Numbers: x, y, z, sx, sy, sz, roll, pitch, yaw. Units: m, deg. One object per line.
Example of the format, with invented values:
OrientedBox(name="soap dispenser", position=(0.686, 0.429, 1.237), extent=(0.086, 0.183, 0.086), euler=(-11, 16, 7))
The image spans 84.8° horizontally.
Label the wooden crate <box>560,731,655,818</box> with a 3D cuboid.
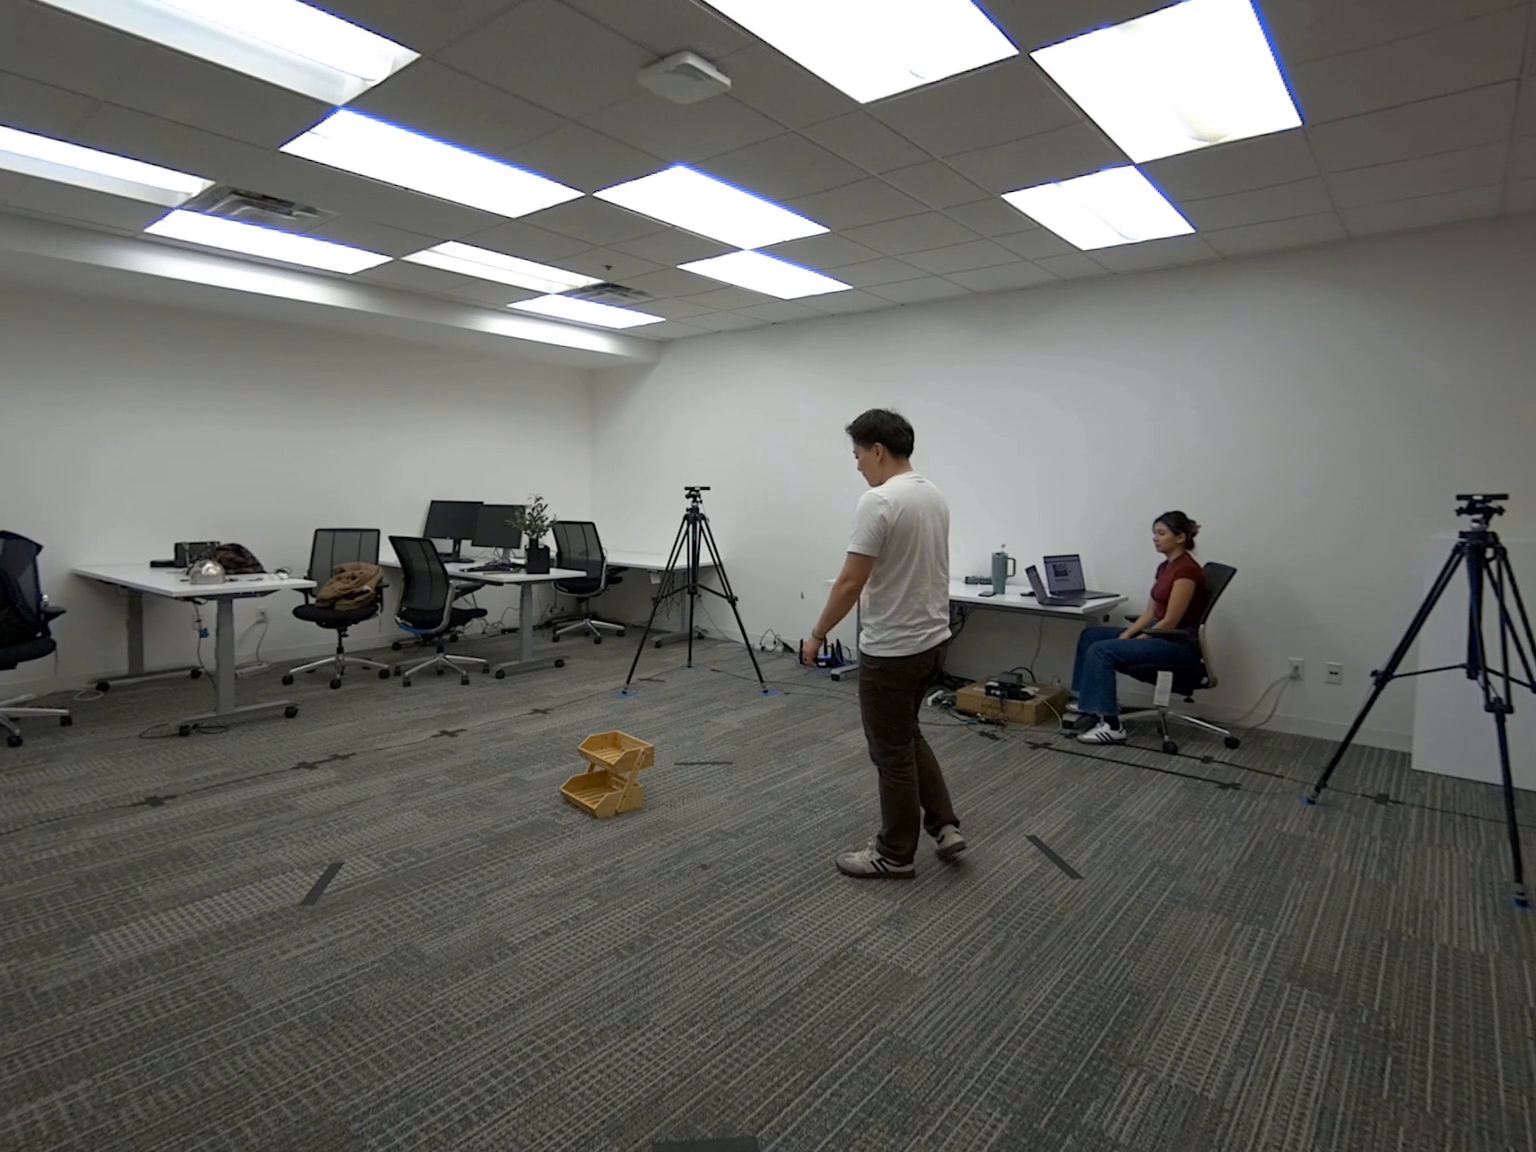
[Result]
OrientedBox(name="wooden crate", position=(-0.728, 0.862, 3.751), extent=(0.293, 0.272, 0.335), euler=(-3, 6, -42))
